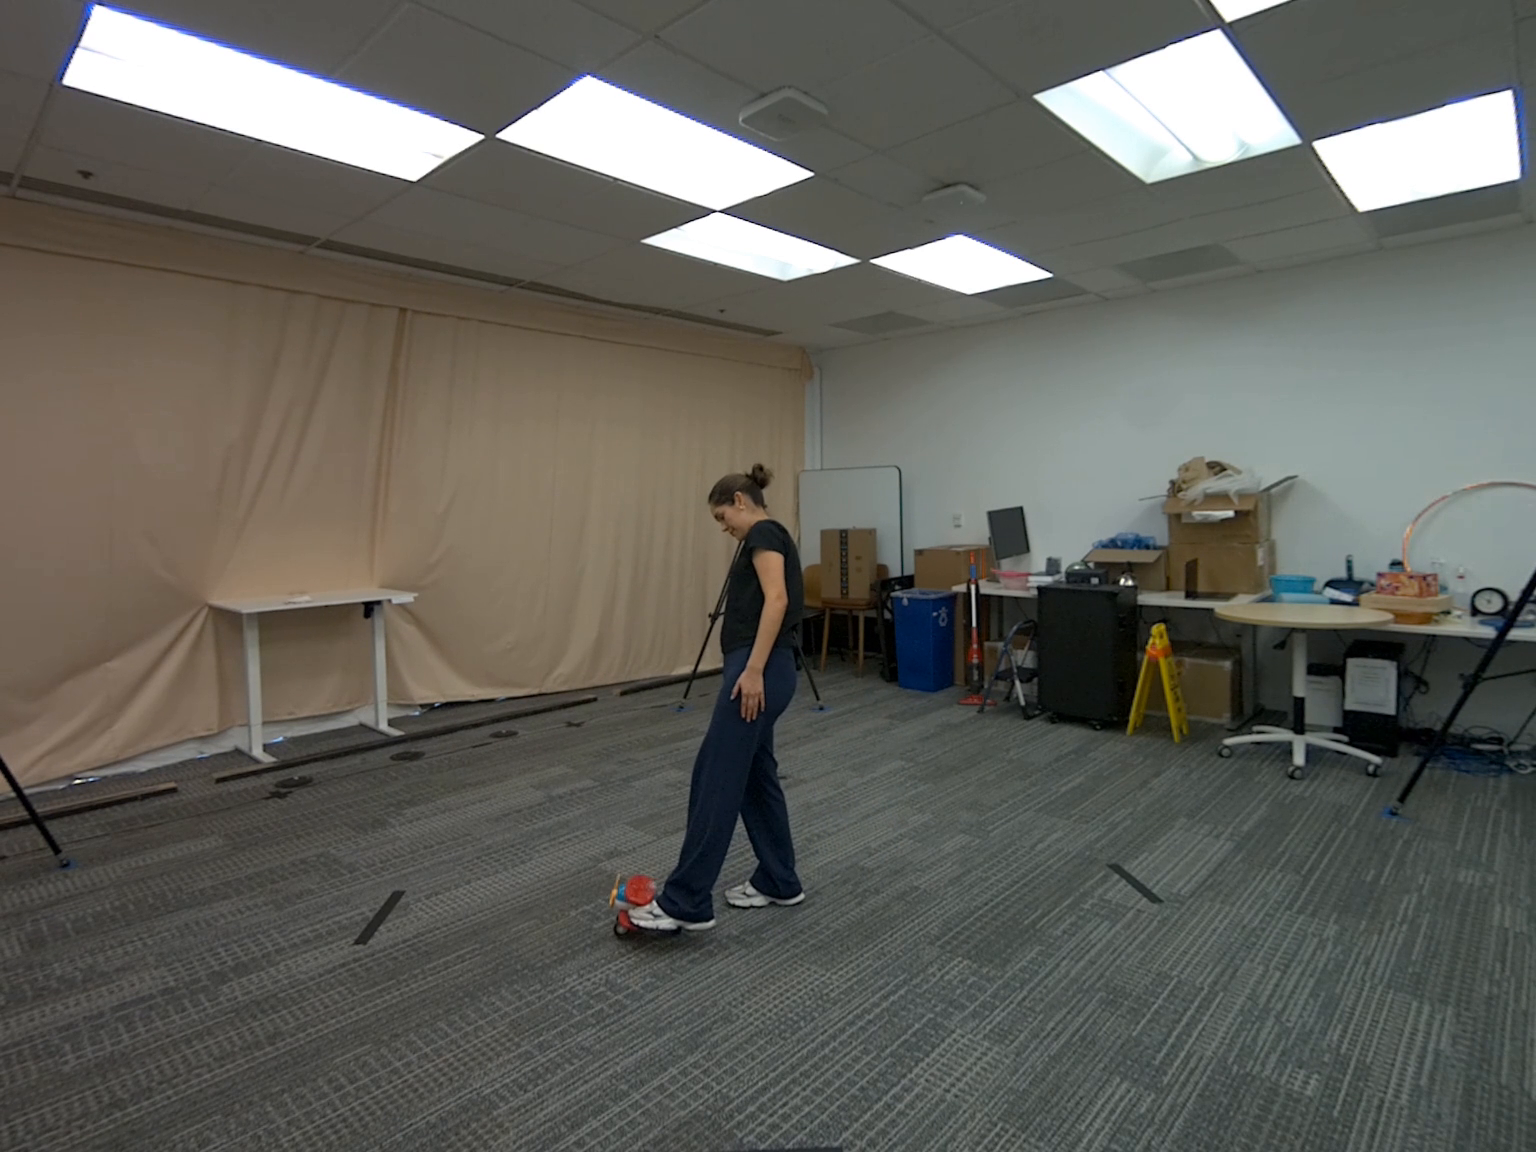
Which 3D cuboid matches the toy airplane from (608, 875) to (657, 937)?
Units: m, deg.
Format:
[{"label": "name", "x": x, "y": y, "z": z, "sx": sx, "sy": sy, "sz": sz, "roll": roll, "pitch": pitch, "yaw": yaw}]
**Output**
[{"label": "toy airplane", "x": -0.382, "y": 1.094, "z": 2.773, "sx": 0.252, "sy": 0.156, "sz": 0.258, "roll": 0, "pitch": -2, "yaw": -31}]
